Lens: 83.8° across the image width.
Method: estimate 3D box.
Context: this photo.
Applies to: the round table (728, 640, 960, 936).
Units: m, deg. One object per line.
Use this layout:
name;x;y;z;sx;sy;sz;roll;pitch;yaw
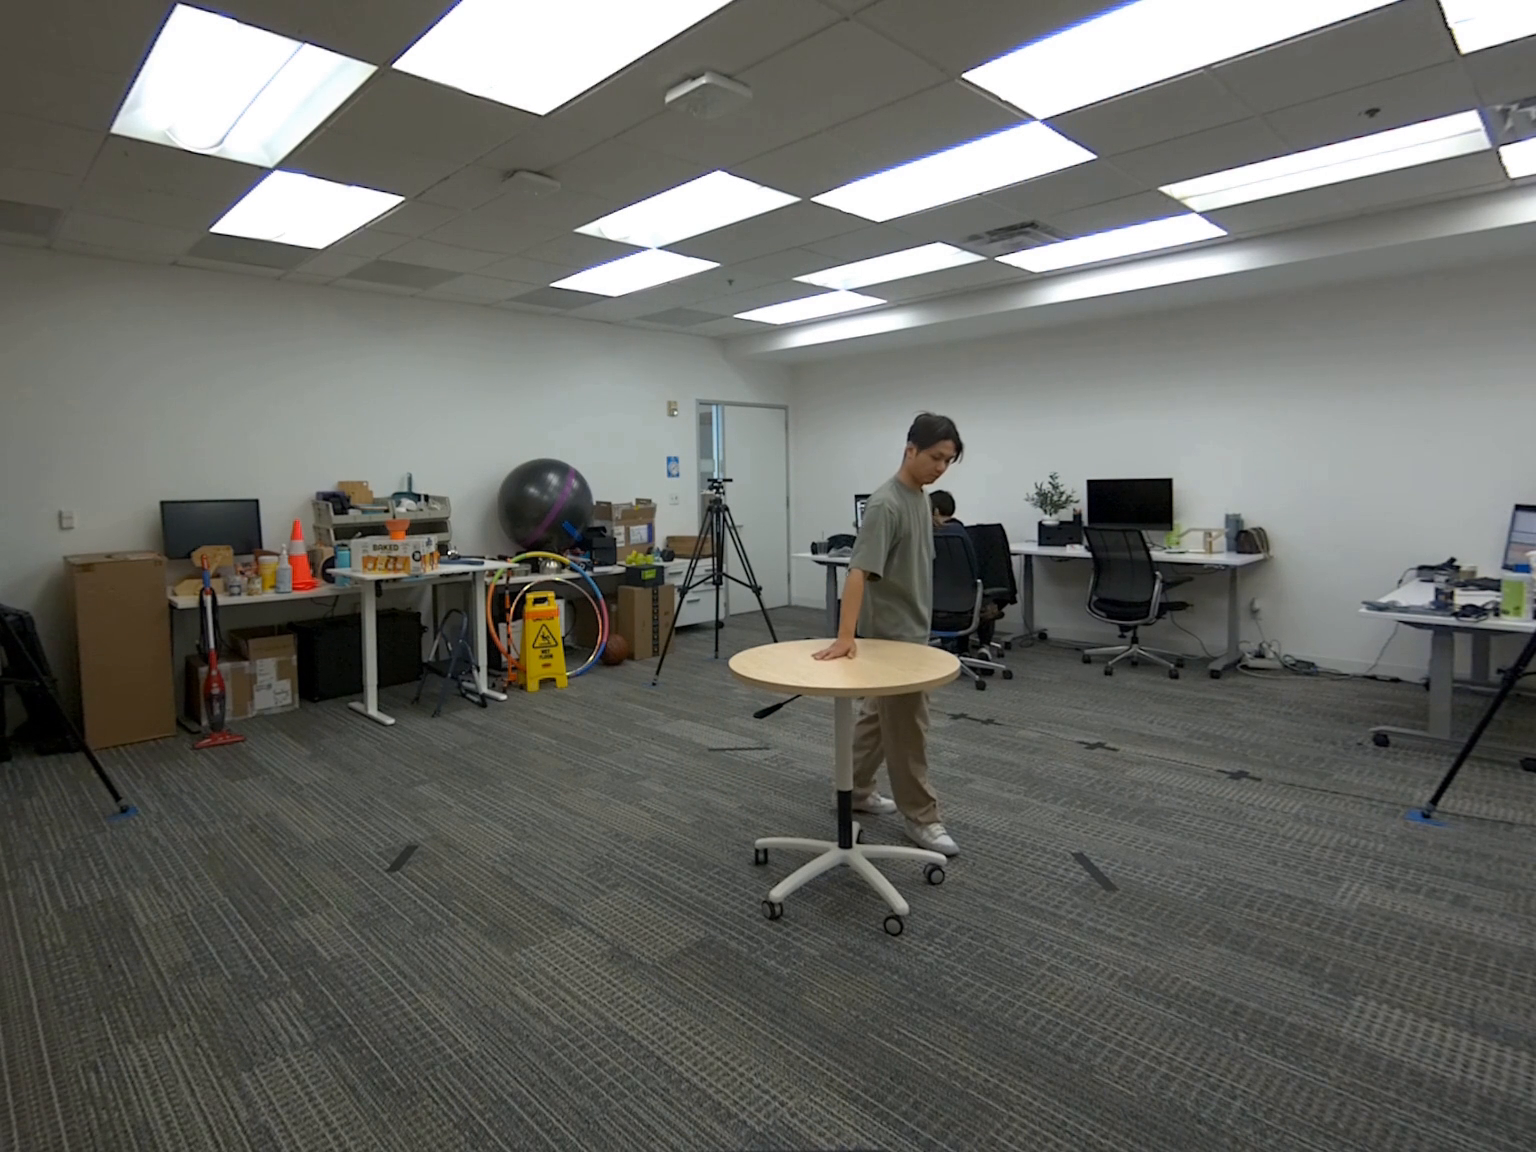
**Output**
round table;0.265;0.676;2.895;0.763;0.791;0.768;-2;5;-2
